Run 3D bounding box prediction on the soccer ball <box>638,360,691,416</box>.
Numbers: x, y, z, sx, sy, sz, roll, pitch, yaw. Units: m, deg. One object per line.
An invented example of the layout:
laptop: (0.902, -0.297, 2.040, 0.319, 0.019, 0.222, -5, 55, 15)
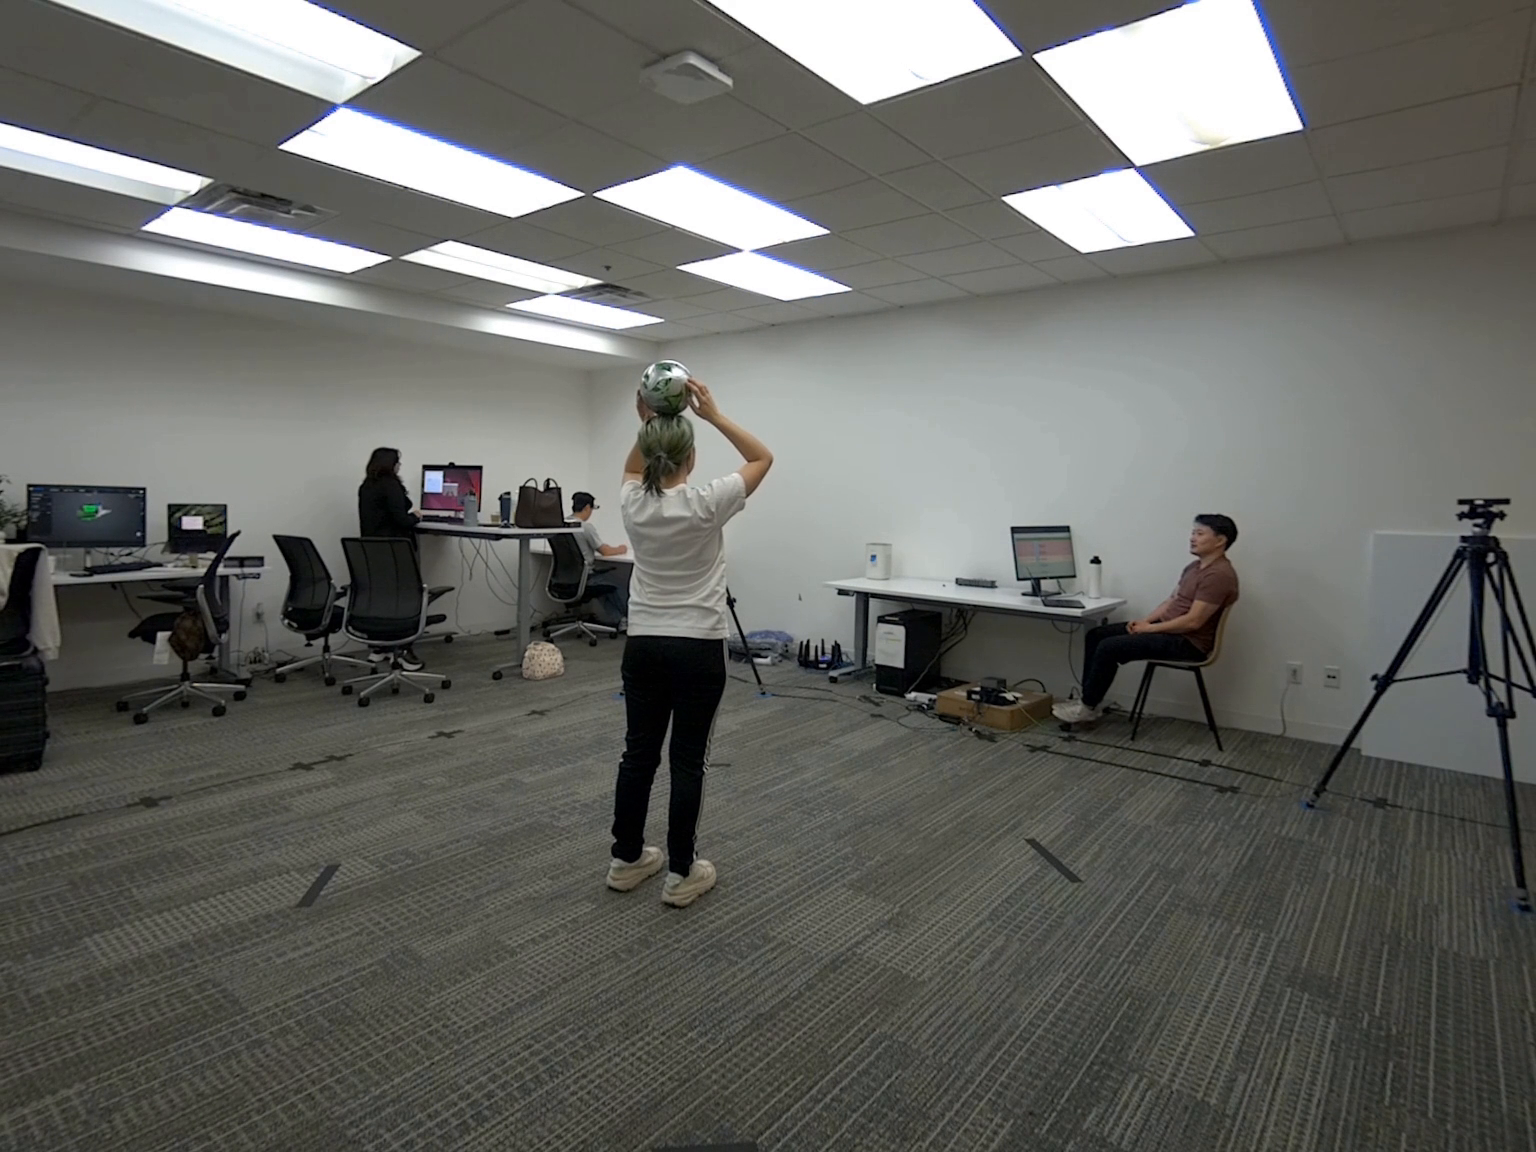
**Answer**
soccer ball: (-0.362, -0.643, 2.904, 0.187, 0.187, 0.188, 1, 4, -2)
